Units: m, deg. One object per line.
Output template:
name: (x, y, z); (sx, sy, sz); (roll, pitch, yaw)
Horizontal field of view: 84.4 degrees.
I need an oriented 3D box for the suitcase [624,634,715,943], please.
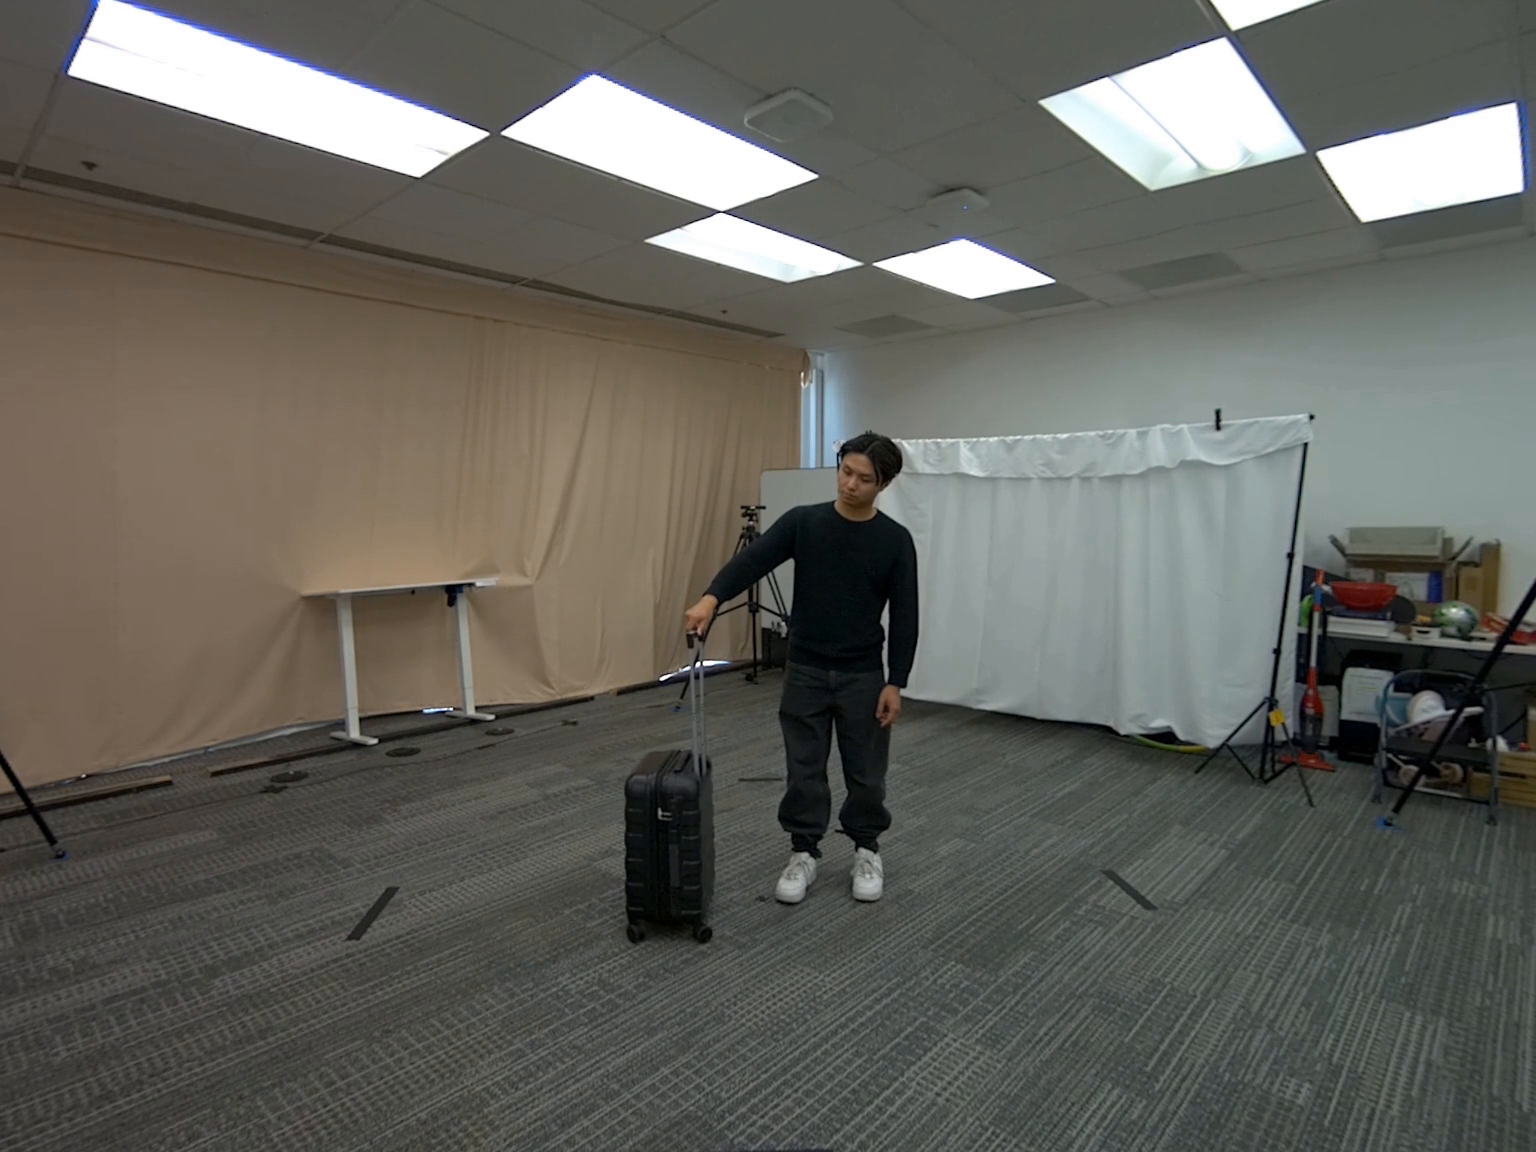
suitcase: (-0.343, 0.684, 2.819); (0.258, 0.977, 0.383); (-3, 2, 3)
